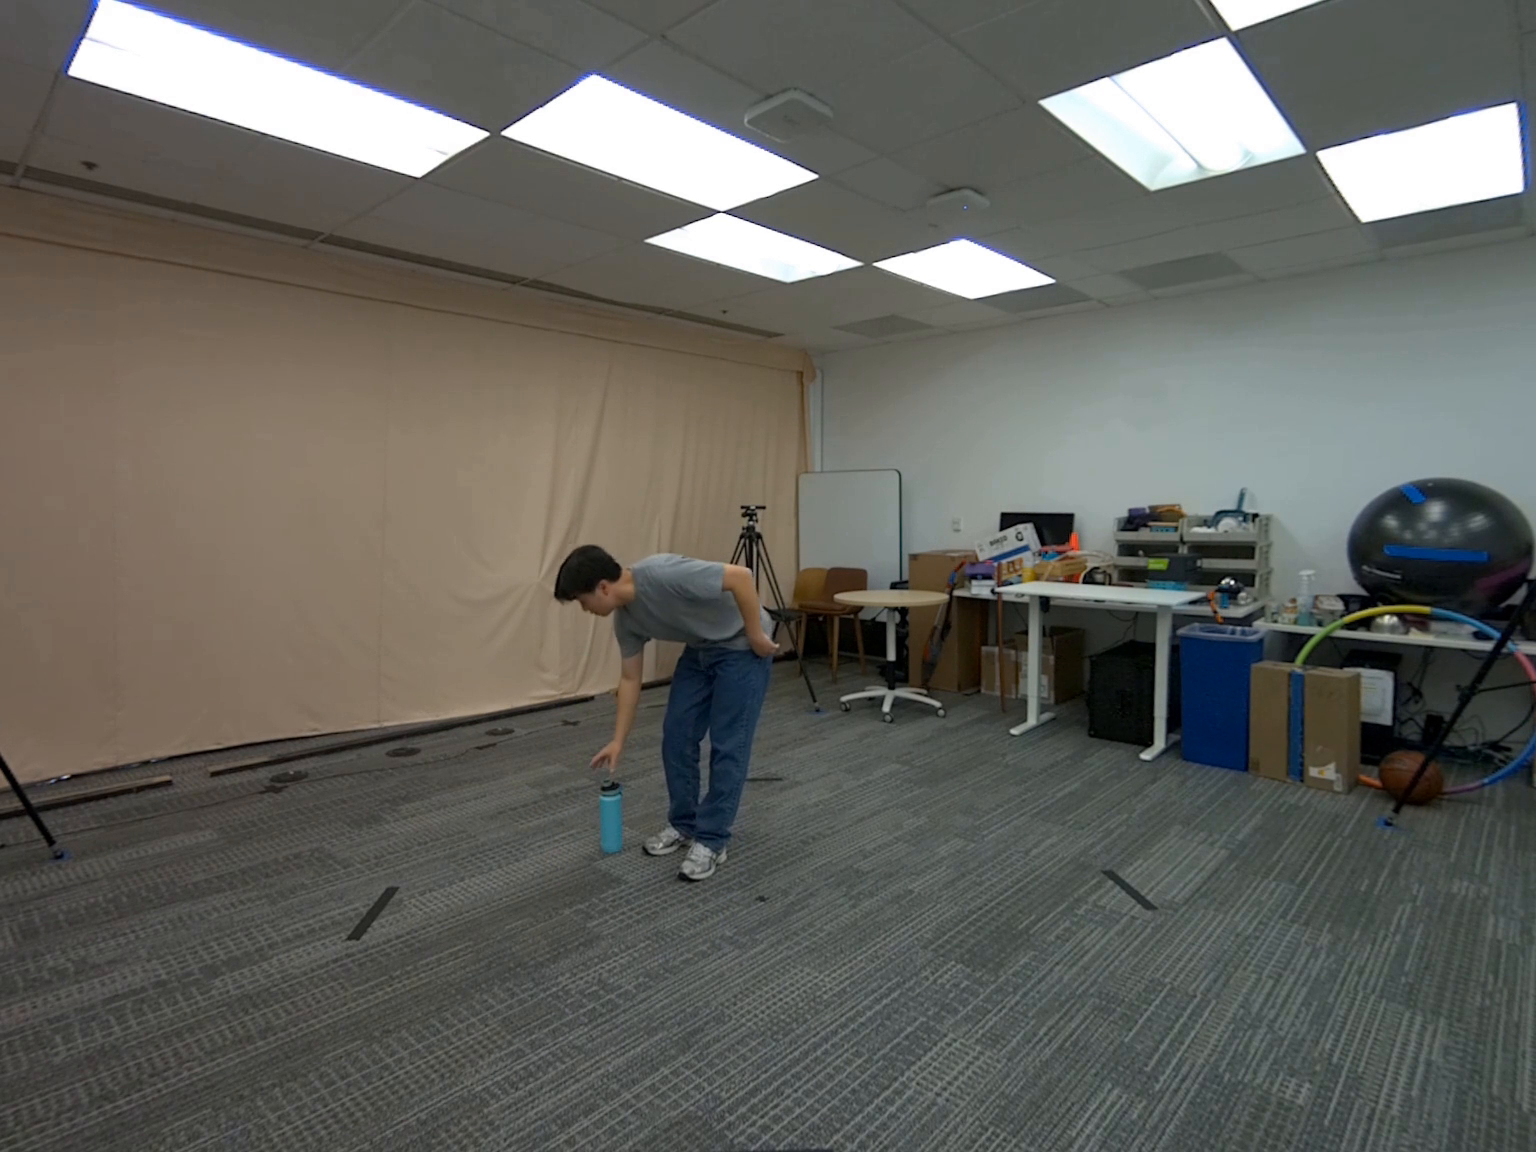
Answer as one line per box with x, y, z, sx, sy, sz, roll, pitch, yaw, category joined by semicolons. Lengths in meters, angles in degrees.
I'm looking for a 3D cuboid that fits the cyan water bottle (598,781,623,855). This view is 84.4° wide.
-0.641;0.977;3.431;0.092;0.283;0.092;1;2;-2;cyan water bottle
